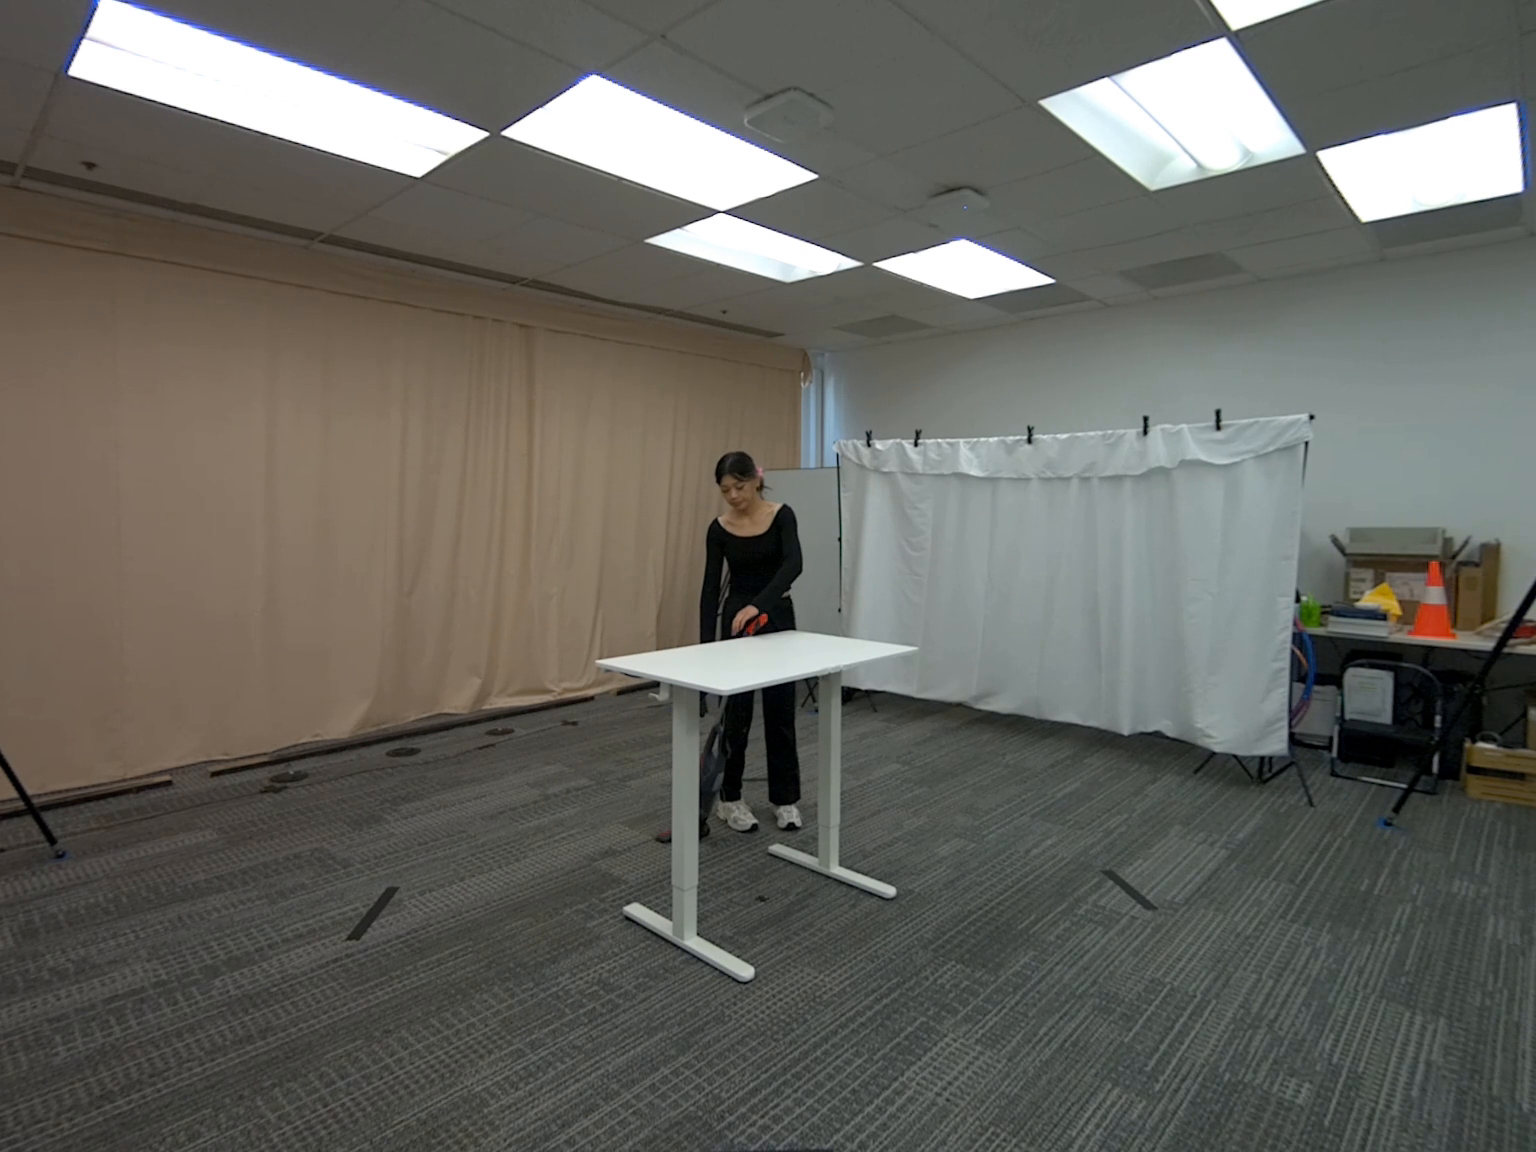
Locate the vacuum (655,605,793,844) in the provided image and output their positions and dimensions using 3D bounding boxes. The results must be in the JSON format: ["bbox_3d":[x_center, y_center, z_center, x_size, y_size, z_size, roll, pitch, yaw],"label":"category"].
[{"bbox_3d":[-0.190,0.633,3.384,0.245,1.044,0.149,3,24,-36],"label":"vacuum"}]
